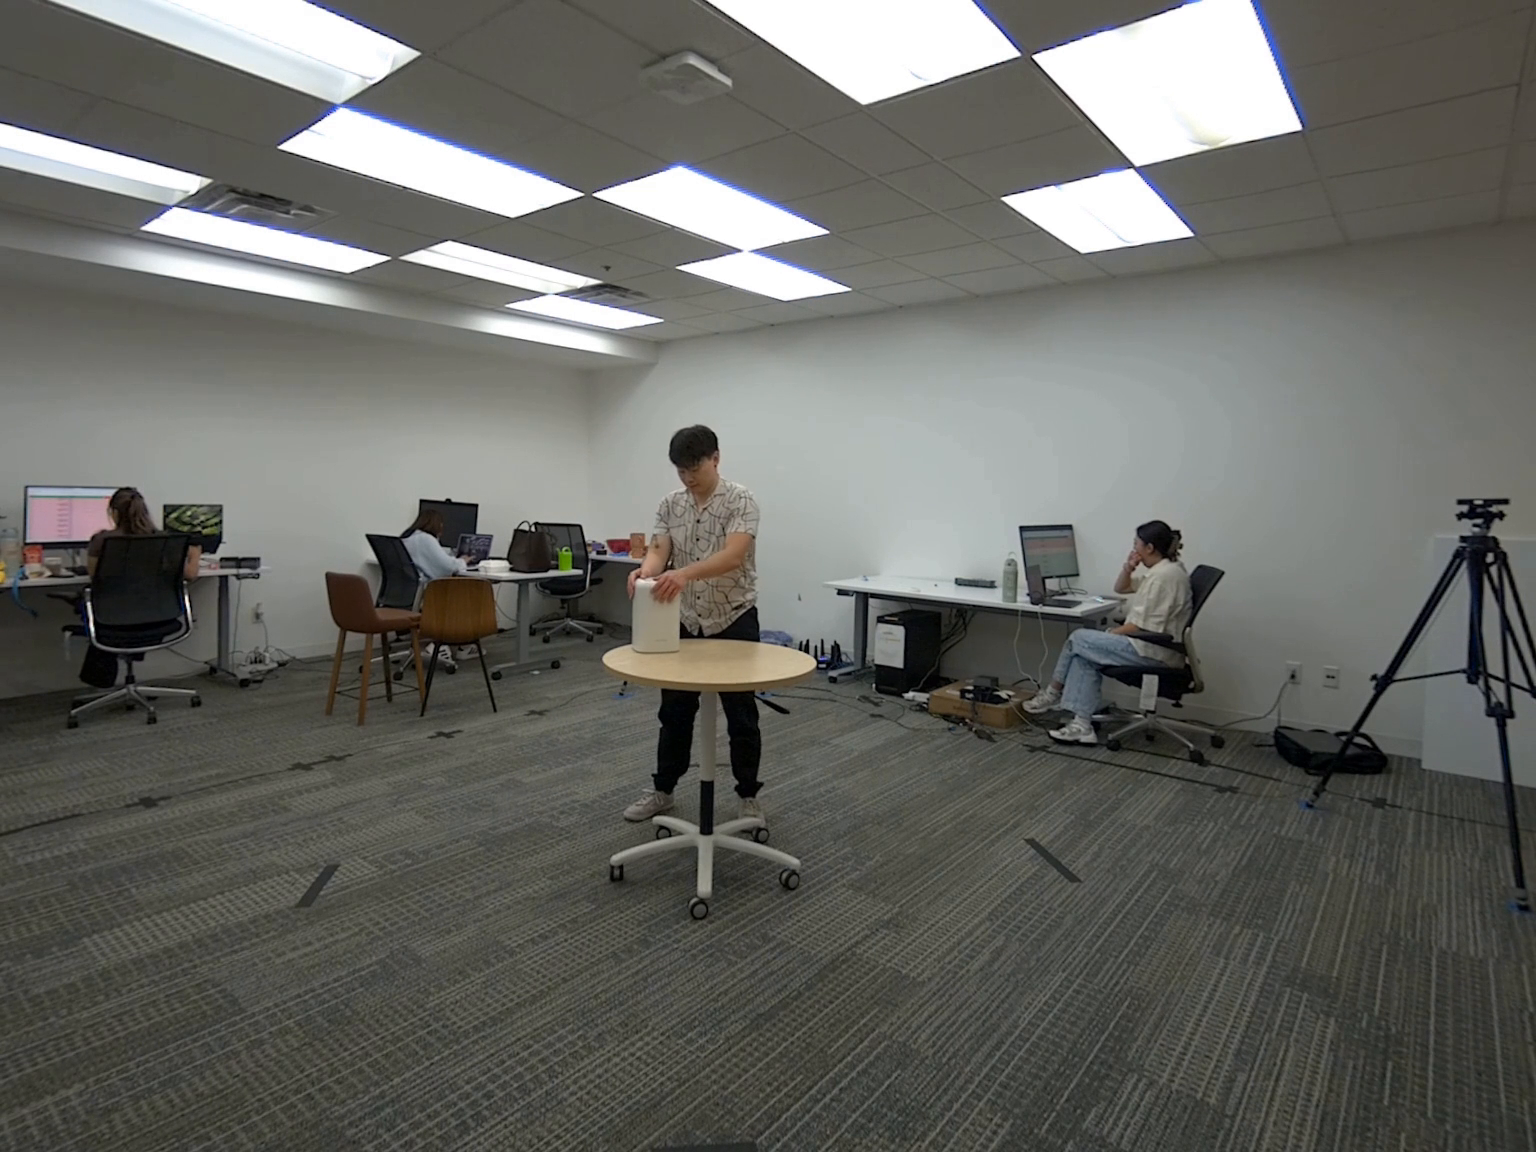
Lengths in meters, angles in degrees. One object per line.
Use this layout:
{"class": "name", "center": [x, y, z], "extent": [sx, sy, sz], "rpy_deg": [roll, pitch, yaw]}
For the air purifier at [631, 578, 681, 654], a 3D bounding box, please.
{"class": "air purifier", "center": [-0.433, 0.142, 3.204], "extent": [0.169, 0.265, 0.174], "rpy_deg": [1, 2, -11]}
